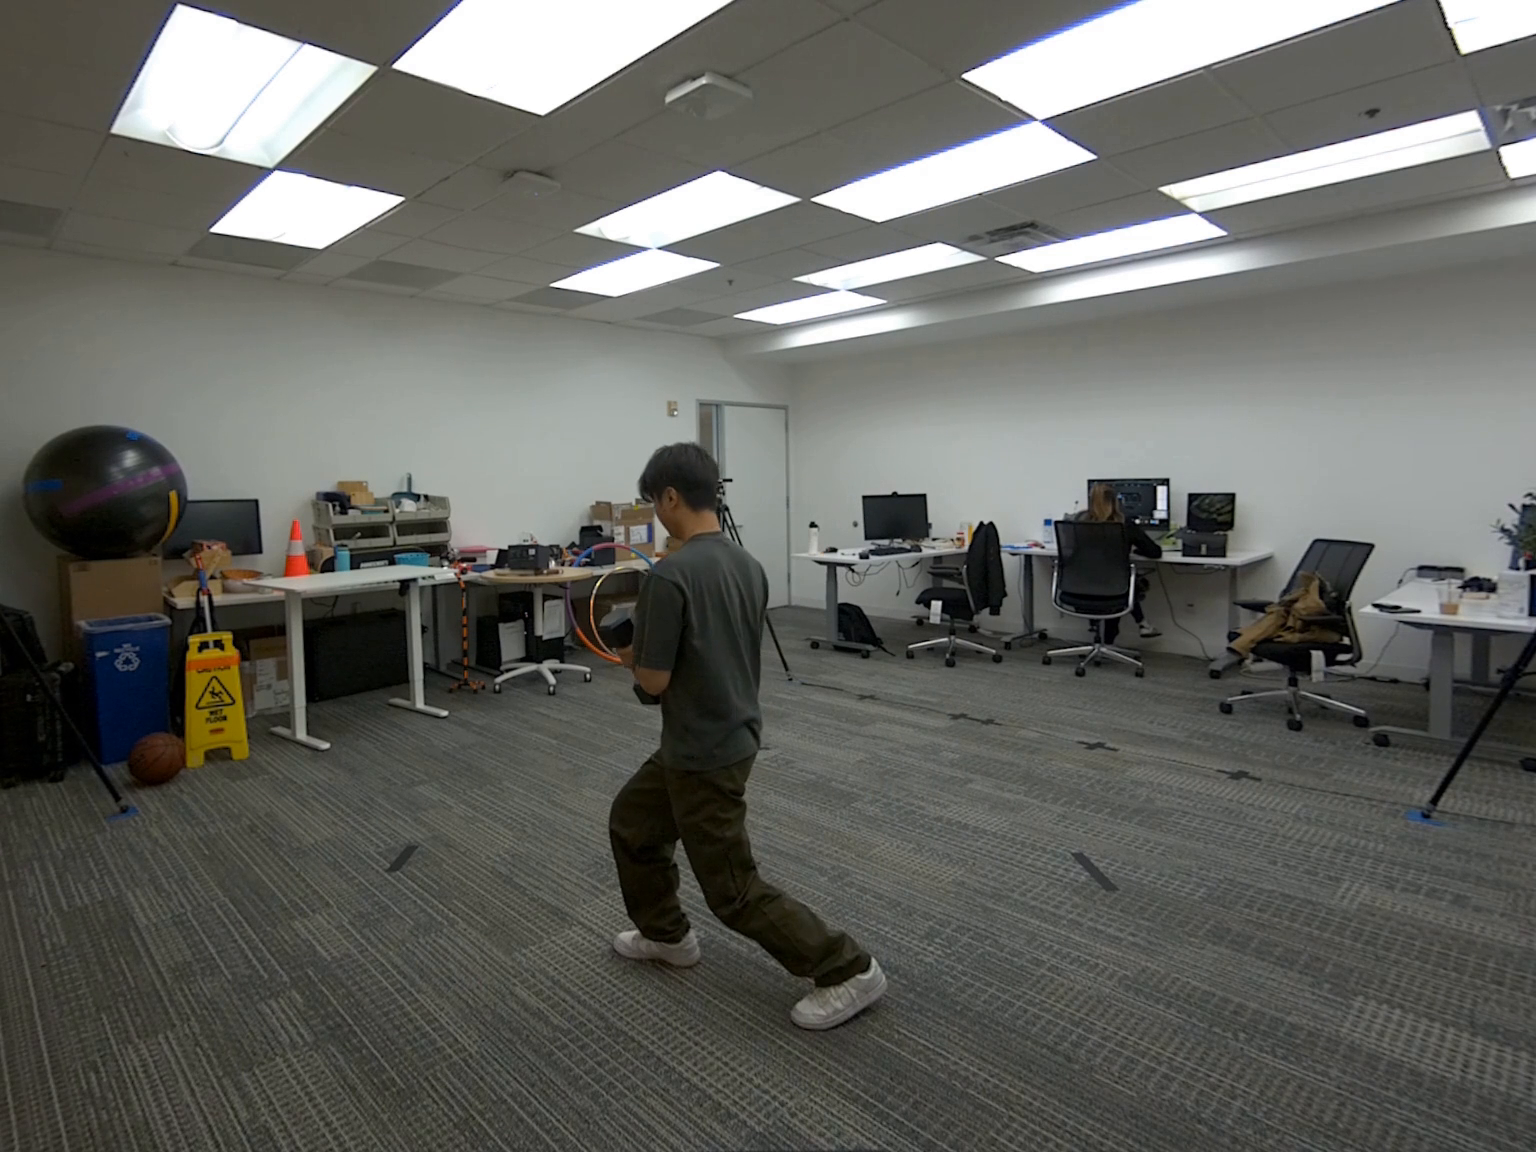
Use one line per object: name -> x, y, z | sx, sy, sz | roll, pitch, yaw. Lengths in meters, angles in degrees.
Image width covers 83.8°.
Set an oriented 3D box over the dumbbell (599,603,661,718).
dumbbell -> -0.357, 0.239, 2.478 | 0.109, 0.288, 0.125 | -24, 17, 12
